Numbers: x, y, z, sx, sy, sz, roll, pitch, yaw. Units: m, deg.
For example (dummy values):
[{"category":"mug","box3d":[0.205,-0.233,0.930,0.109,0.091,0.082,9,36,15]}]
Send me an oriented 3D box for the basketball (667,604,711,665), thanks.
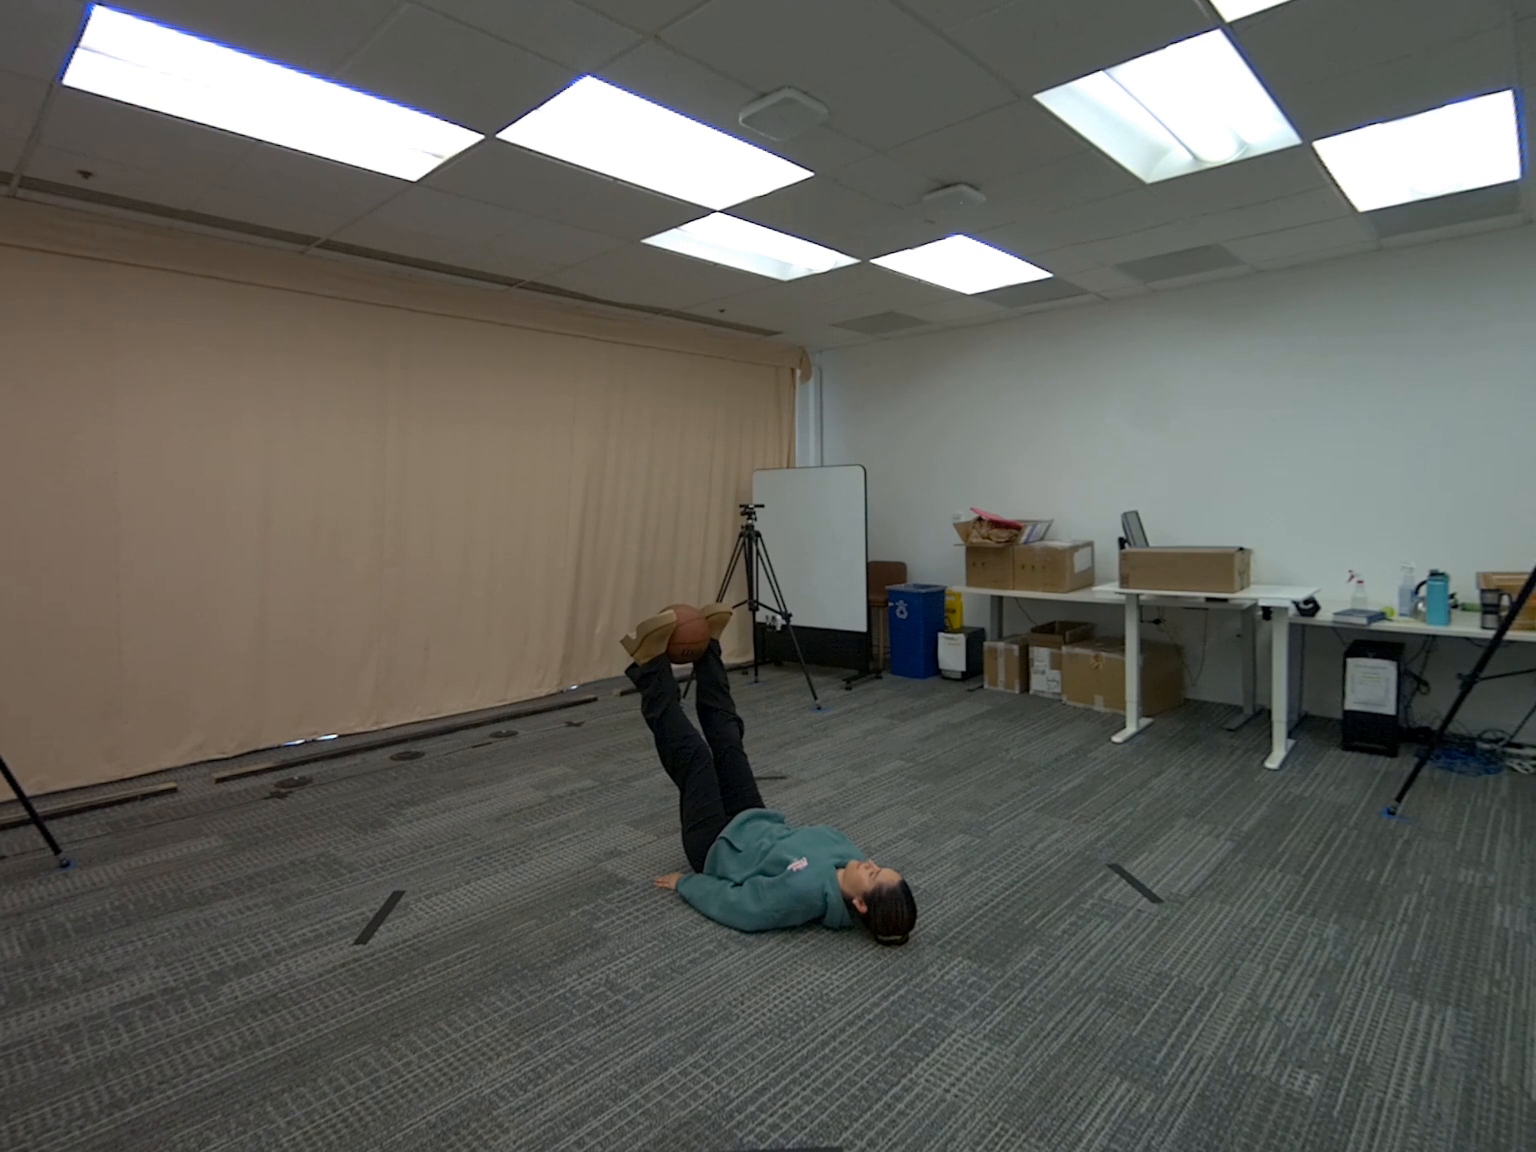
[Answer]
[{"category":"basketball","box3d":[-0.349,0.226,3.302,0.236,0.235,0.237,0,4,-2]}]
